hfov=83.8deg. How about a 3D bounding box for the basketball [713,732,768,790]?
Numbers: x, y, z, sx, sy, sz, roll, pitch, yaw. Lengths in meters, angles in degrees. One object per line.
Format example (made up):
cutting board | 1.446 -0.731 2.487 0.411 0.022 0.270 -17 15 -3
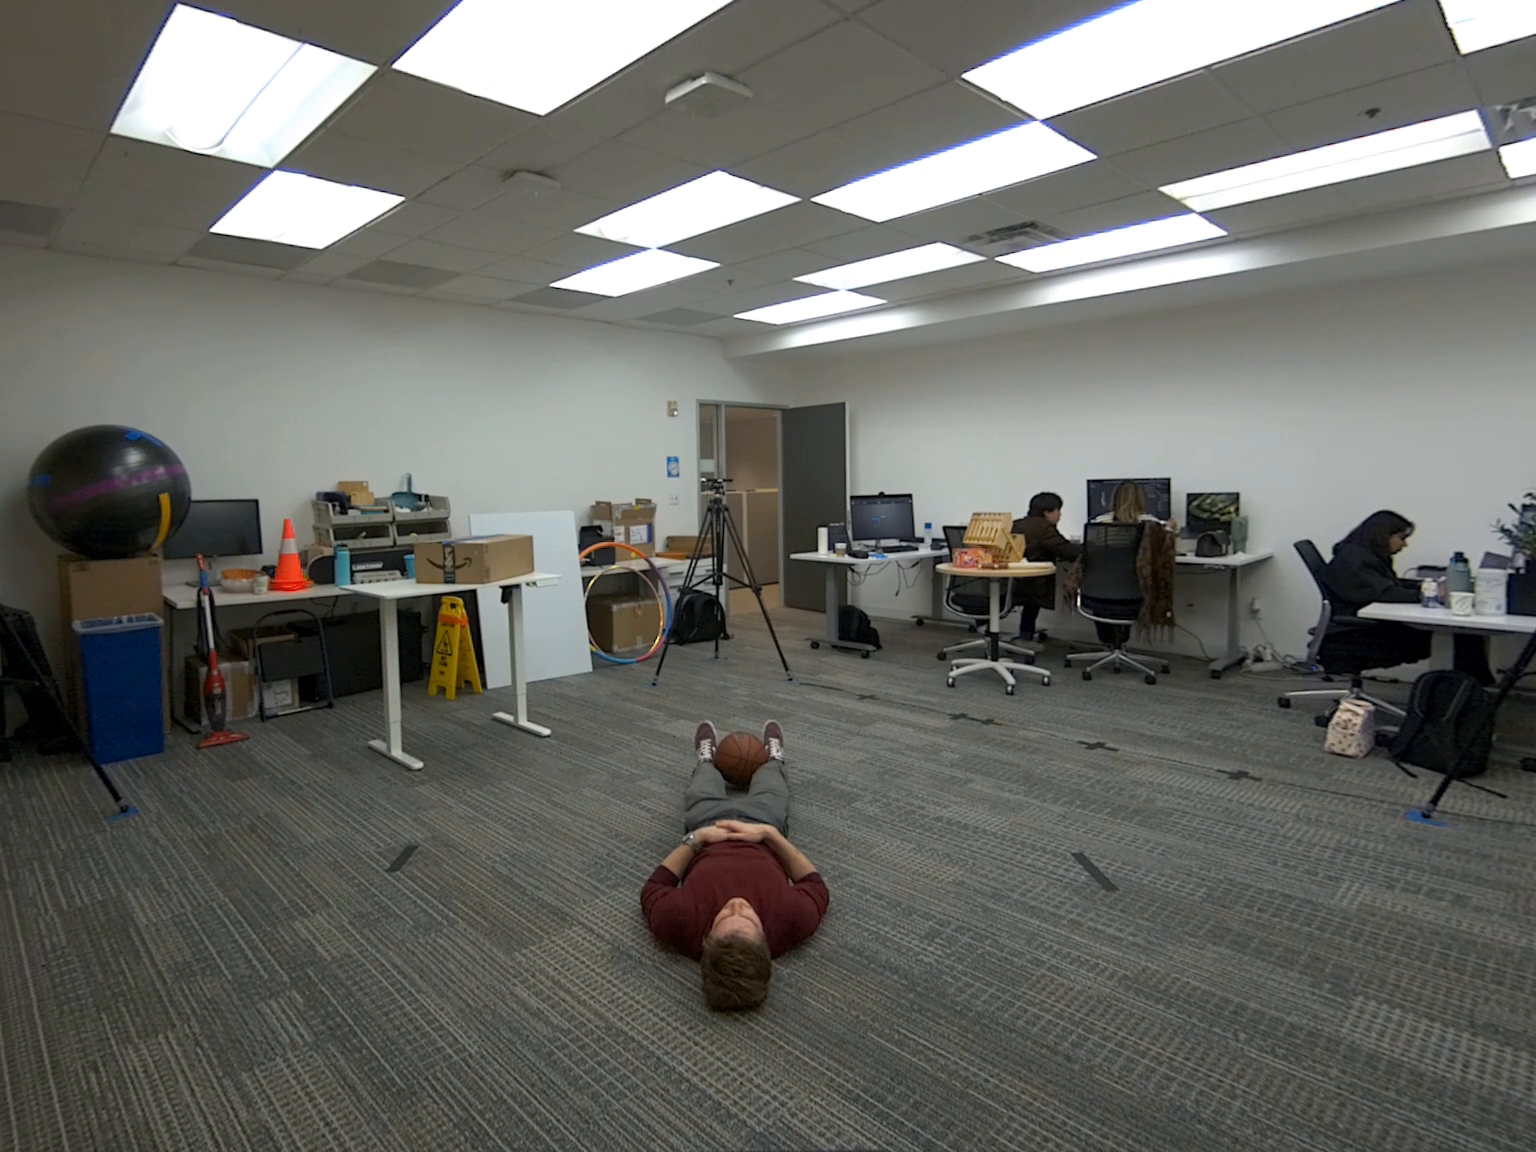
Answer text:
basketball | -0.113 0.826 3.872 0.236 0.236 0.236 0 1 -2
